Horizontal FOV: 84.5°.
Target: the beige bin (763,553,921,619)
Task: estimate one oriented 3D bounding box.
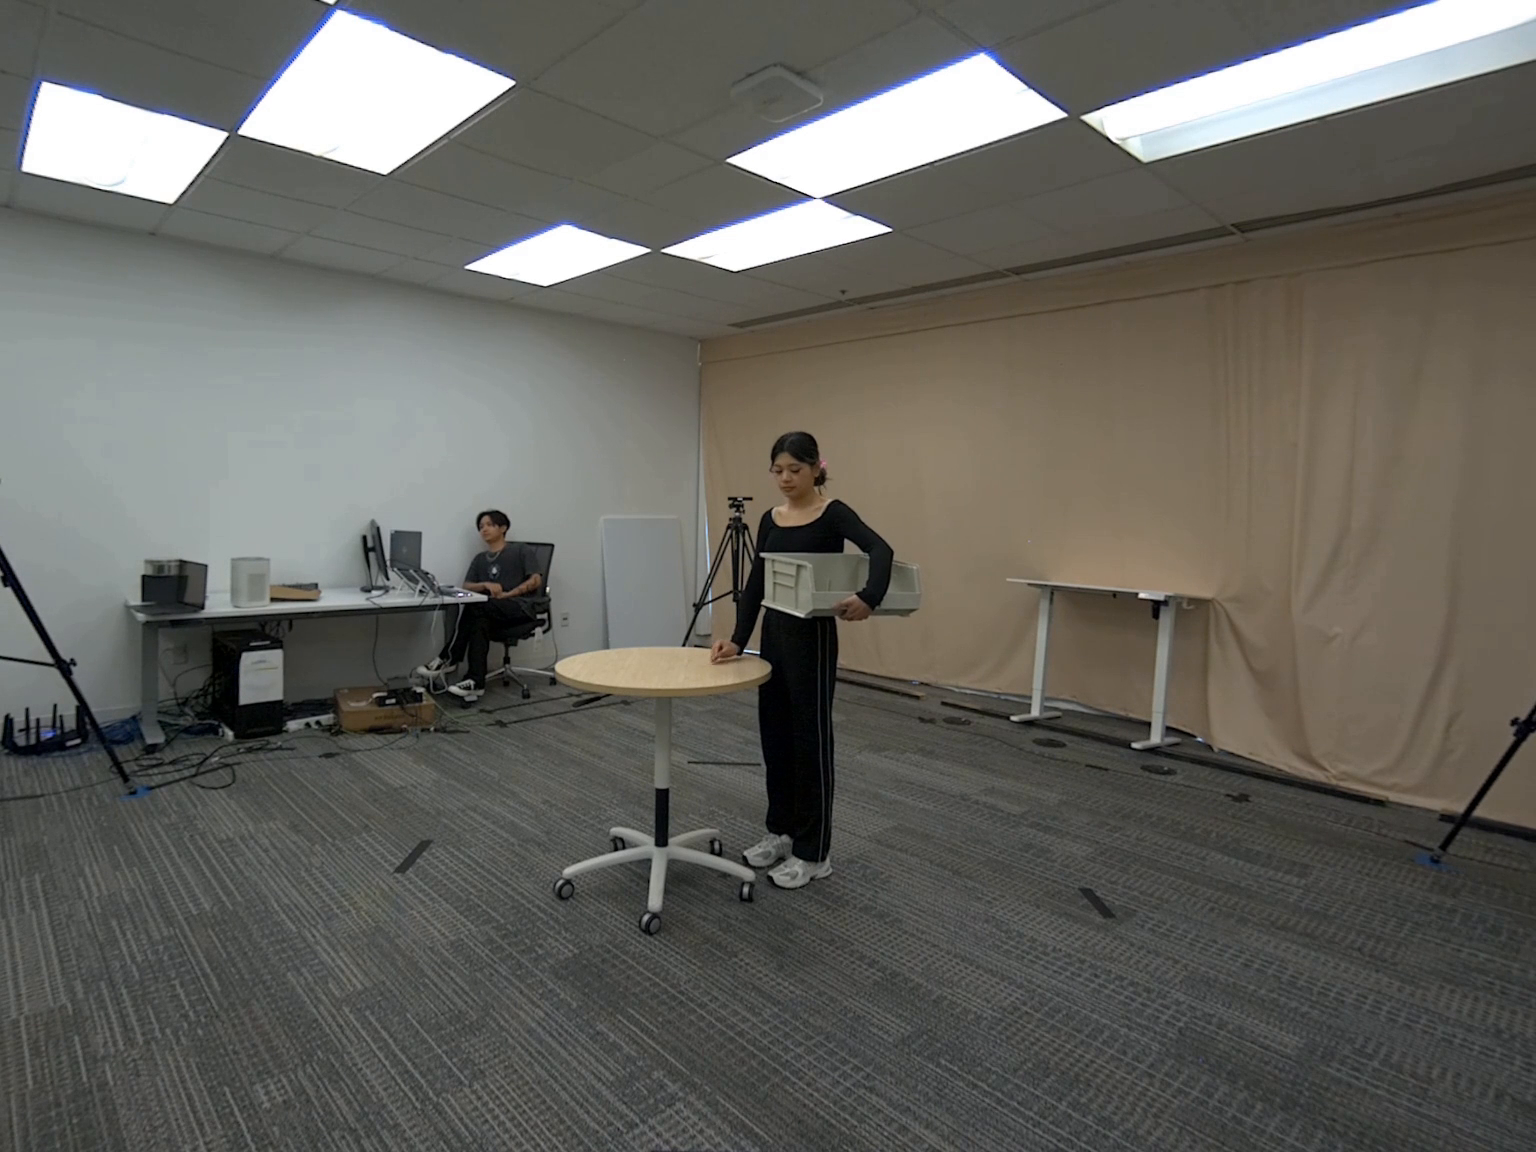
[{"bbox_3d":[0.237,0.034,2.853,0.415,0.188,0.385,0,6,-24],"label":"beige bin"}]
